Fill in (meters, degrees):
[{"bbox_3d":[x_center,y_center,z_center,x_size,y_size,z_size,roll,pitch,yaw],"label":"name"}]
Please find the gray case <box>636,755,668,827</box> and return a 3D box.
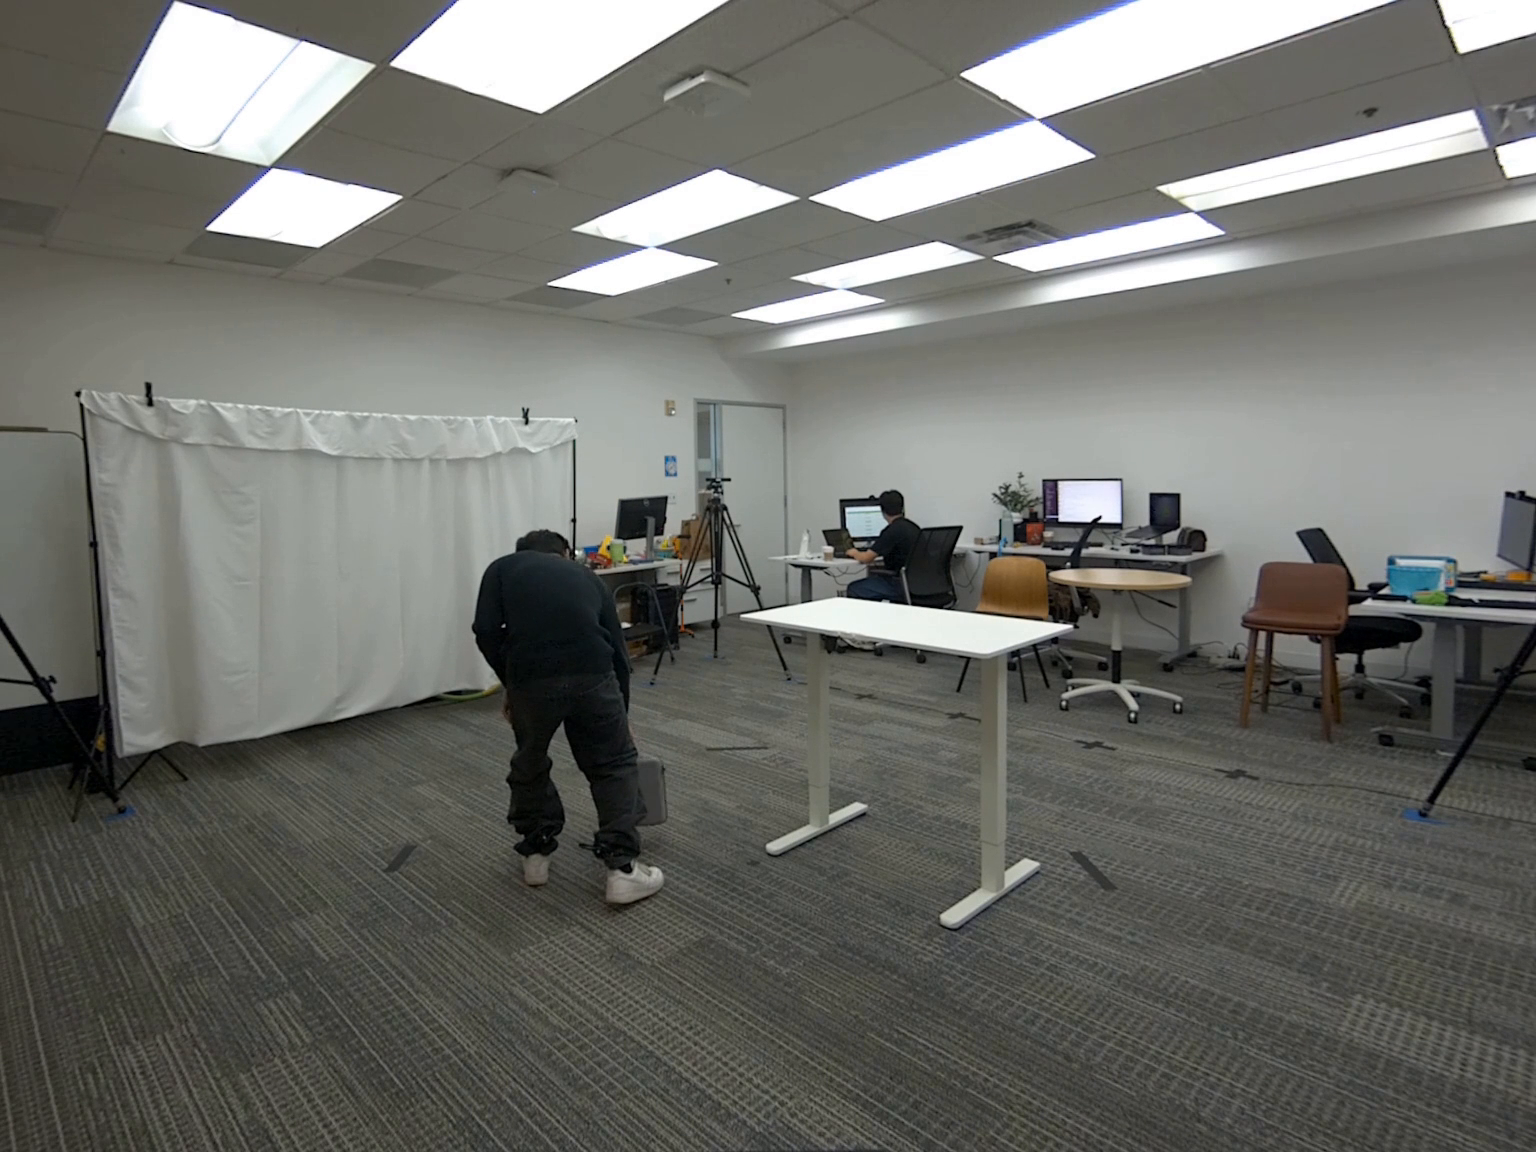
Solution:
[{"bbox_3d":[-0.525,0.832,3.297,0.257,0.263,0.103,-6,-8,0],"label":"gray case"}]
